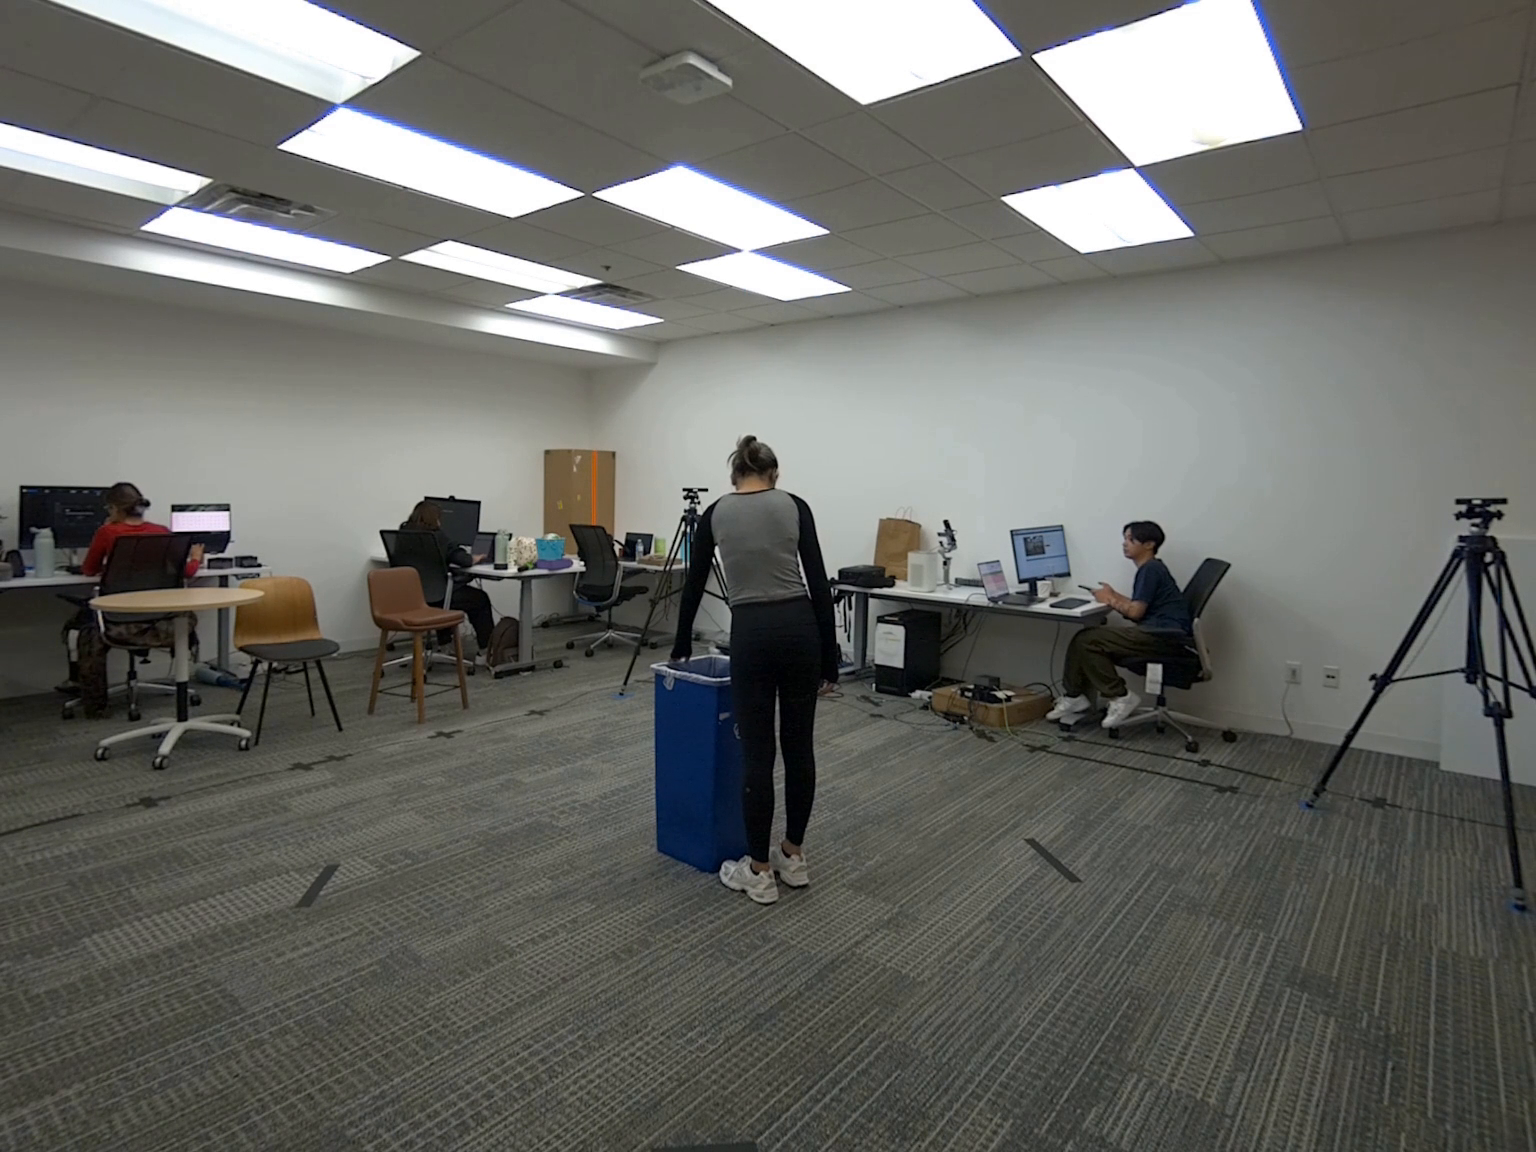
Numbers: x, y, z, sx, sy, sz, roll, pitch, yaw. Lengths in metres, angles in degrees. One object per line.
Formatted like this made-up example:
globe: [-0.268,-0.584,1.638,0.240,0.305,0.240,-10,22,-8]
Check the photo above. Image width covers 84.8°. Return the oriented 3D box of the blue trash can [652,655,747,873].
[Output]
blue trash can: [-0.224,0.696,3.269,0.391,0.712,0.363,3,4,40]
